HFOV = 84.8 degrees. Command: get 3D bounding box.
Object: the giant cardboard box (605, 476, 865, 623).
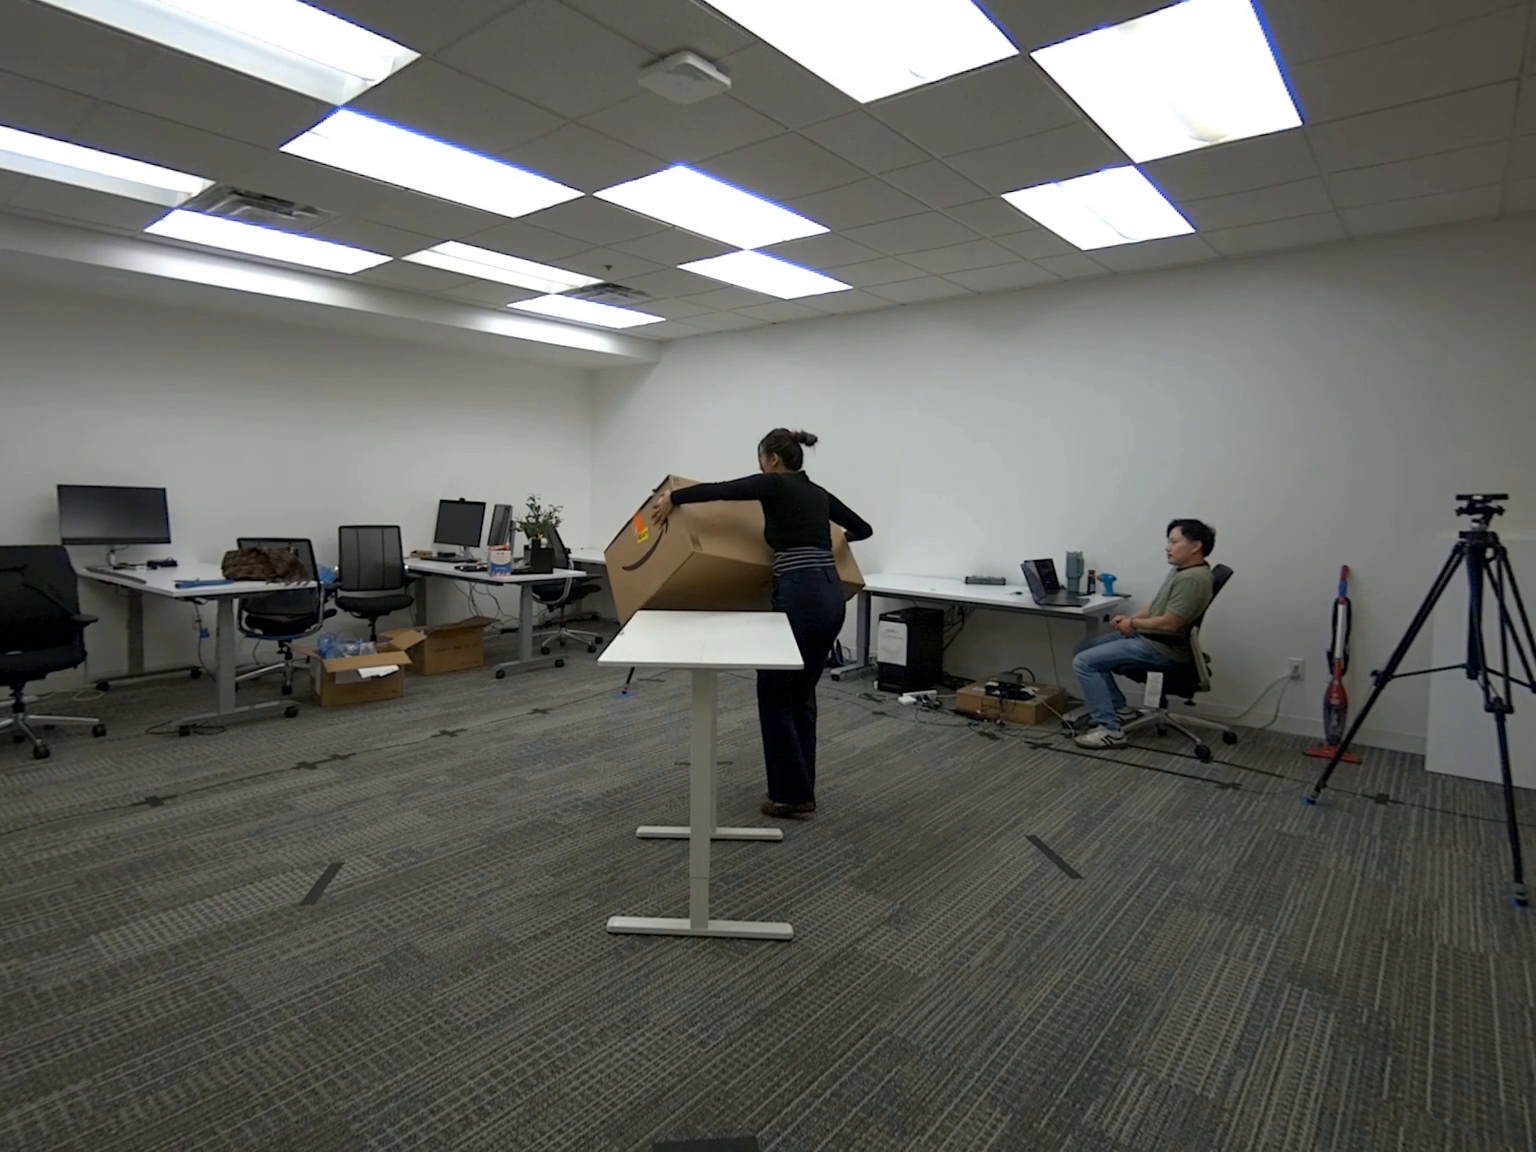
[{"bbox_3d":[-0.169,-0.036,3.968,0.989,0.441,0.578,11,-44,-39],"label":"giant cardboard box"}]
